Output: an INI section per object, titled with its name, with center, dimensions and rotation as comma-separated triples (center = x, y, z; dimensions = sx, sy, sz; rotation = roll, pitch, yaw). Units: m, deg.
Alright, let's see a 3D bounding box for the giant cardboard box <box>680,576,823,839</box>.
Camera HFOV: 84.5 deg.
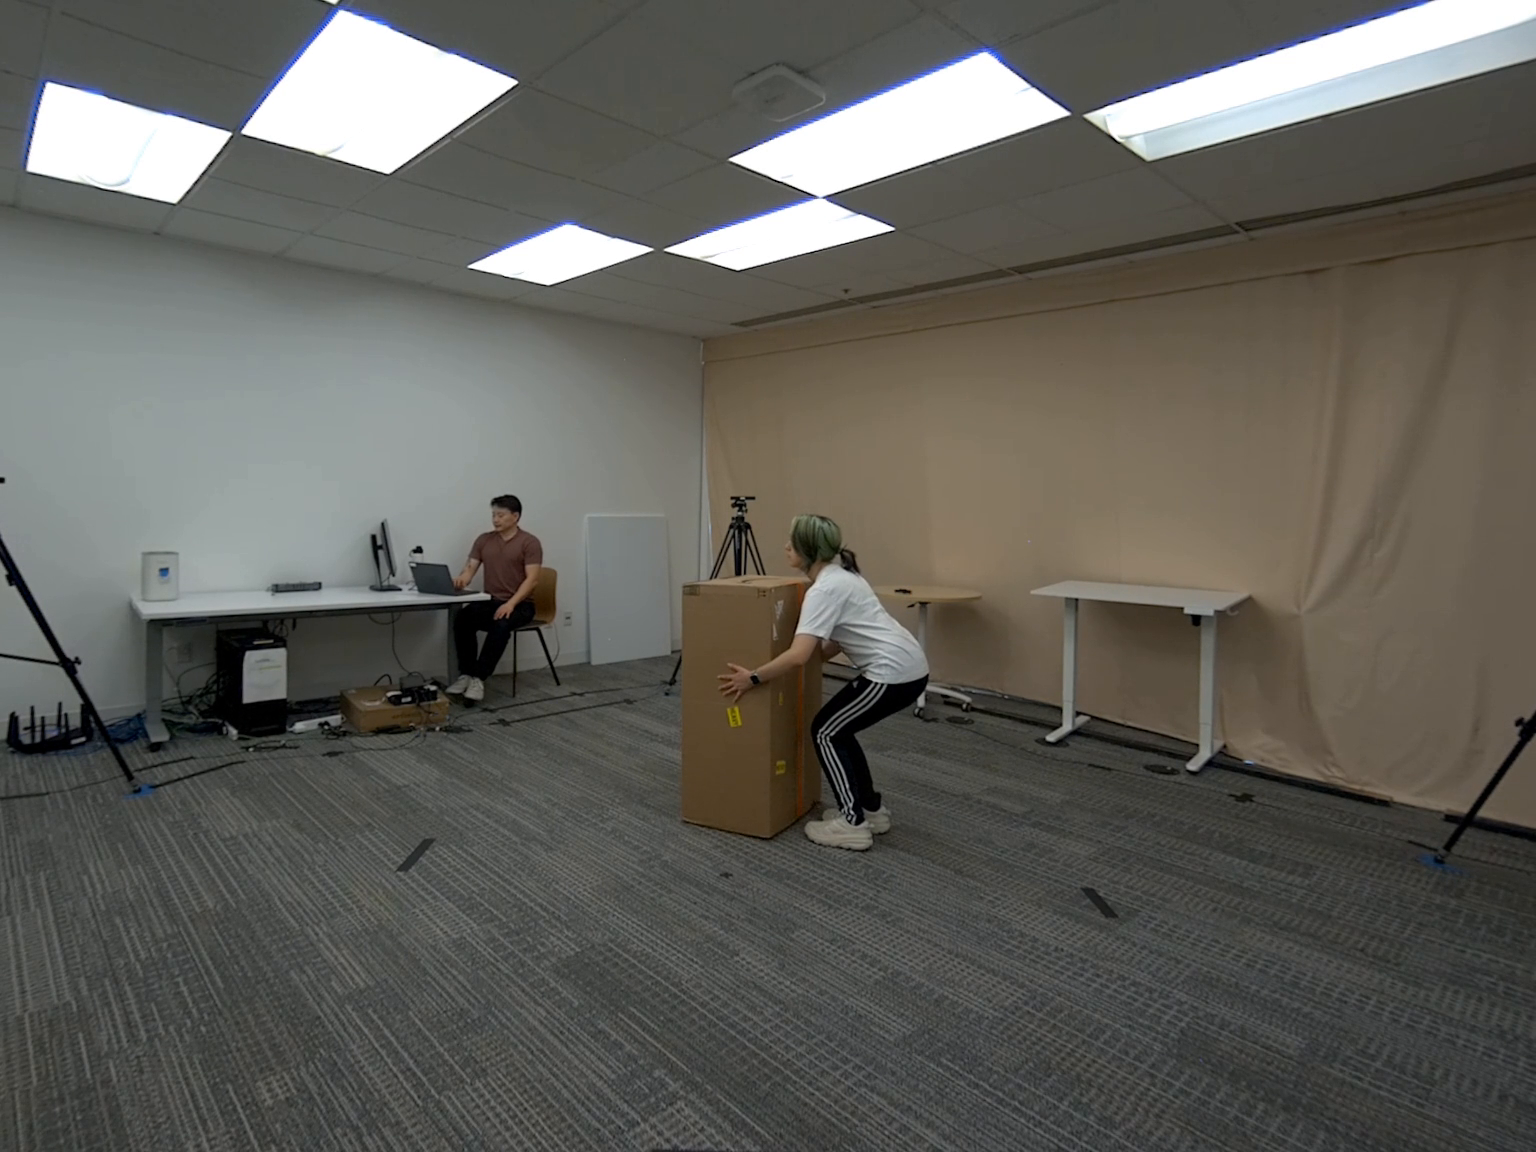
[giant cardboard box]
center = -0.061, 0.530, 3.744
dimensions = 0.434, 1.024, 0.567
rotation = 1, 2, 26
